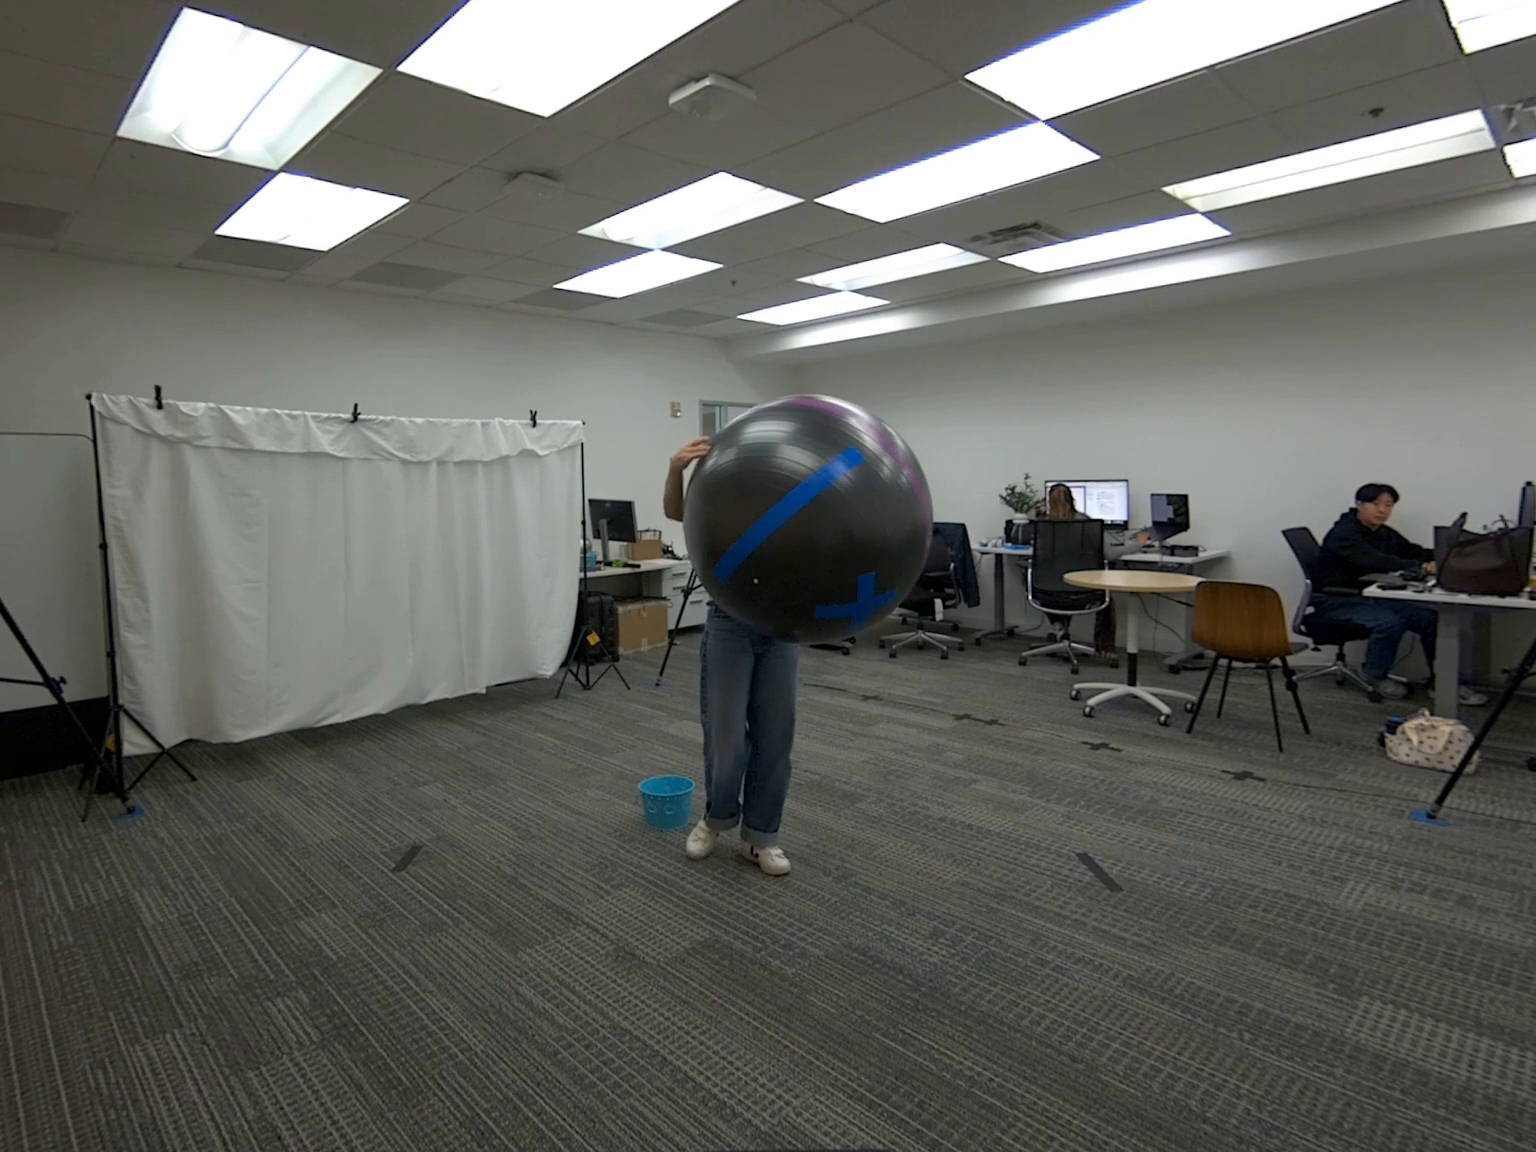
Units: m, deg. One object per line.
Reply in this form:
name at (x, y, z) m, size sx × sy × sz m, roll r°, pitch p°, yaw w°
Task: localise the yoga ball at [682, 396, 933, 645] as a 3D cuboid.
yoga ball at (0.116, -0.168, 2.621) m, size 0.757 × 0.755 × 0.762 m, roll -1°, pitch 5°, yaw -2°
